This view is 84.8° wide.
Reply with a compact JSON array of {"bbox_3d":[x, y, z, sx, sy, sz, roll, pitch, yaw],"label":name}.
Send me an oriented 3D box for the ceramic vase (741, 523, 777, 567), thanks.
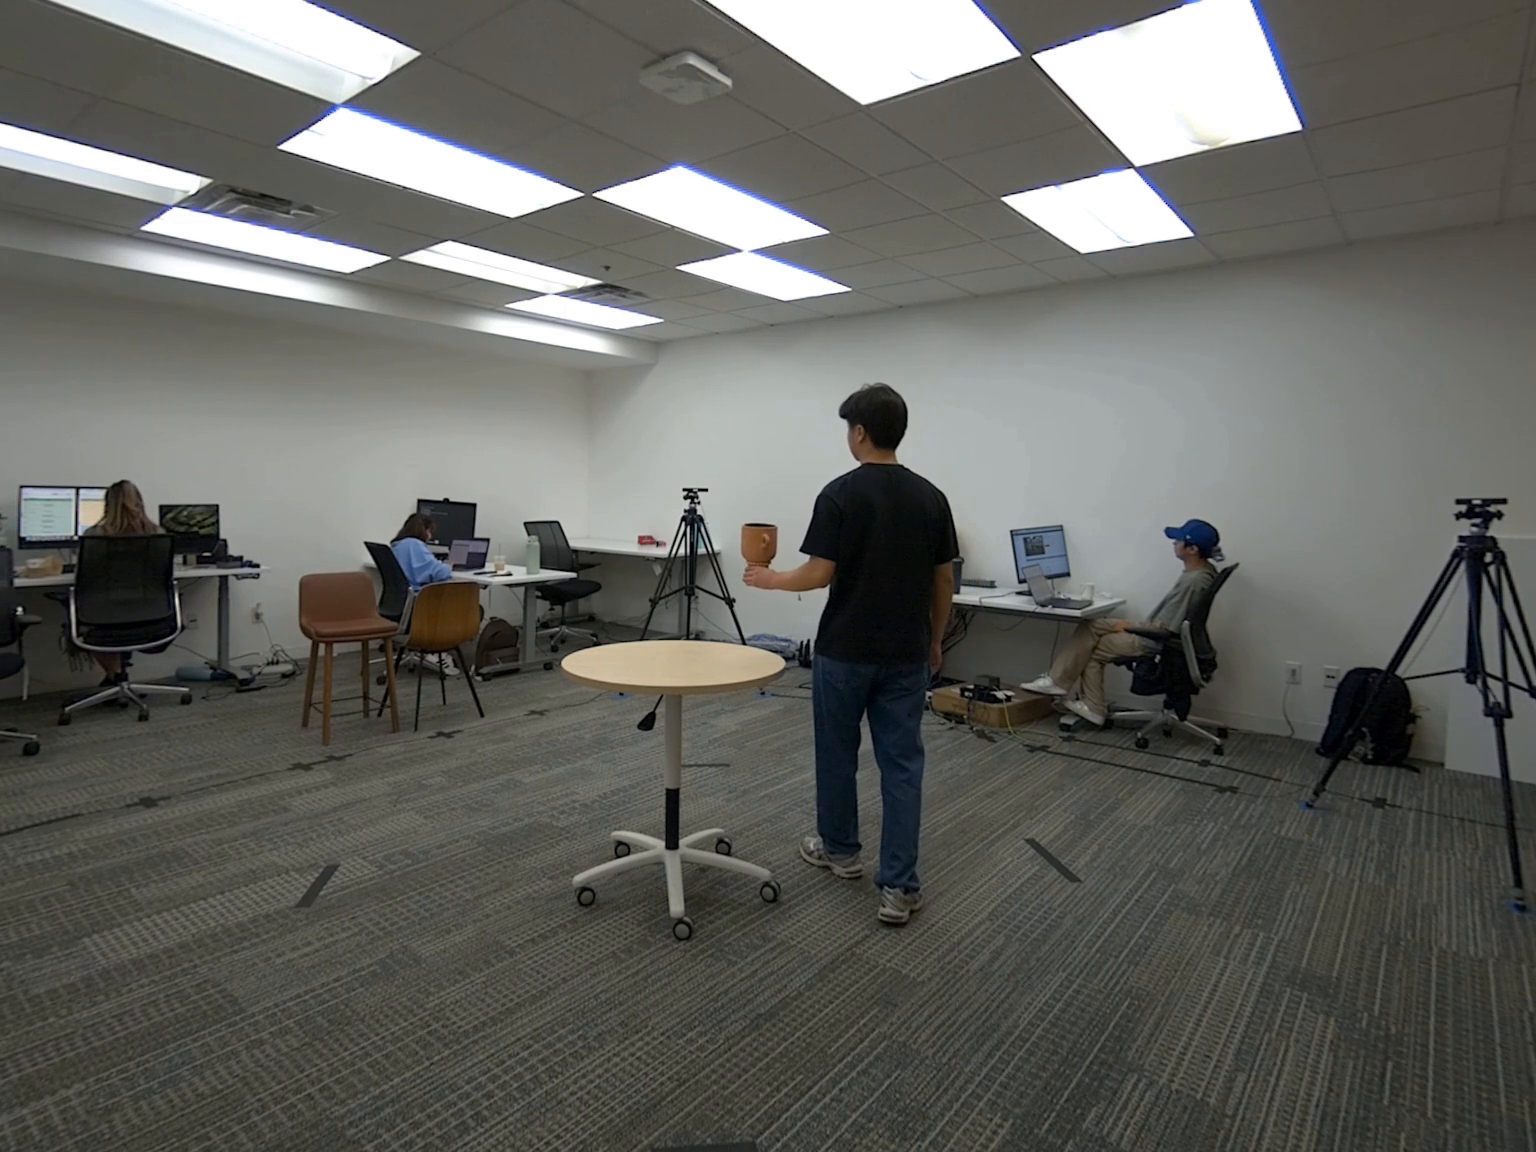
[{"bbox_3d":[-0.047,-0.085,3.156,0.138,0.218,0.156,5,9,21],"label":"ceramic vase"}]
